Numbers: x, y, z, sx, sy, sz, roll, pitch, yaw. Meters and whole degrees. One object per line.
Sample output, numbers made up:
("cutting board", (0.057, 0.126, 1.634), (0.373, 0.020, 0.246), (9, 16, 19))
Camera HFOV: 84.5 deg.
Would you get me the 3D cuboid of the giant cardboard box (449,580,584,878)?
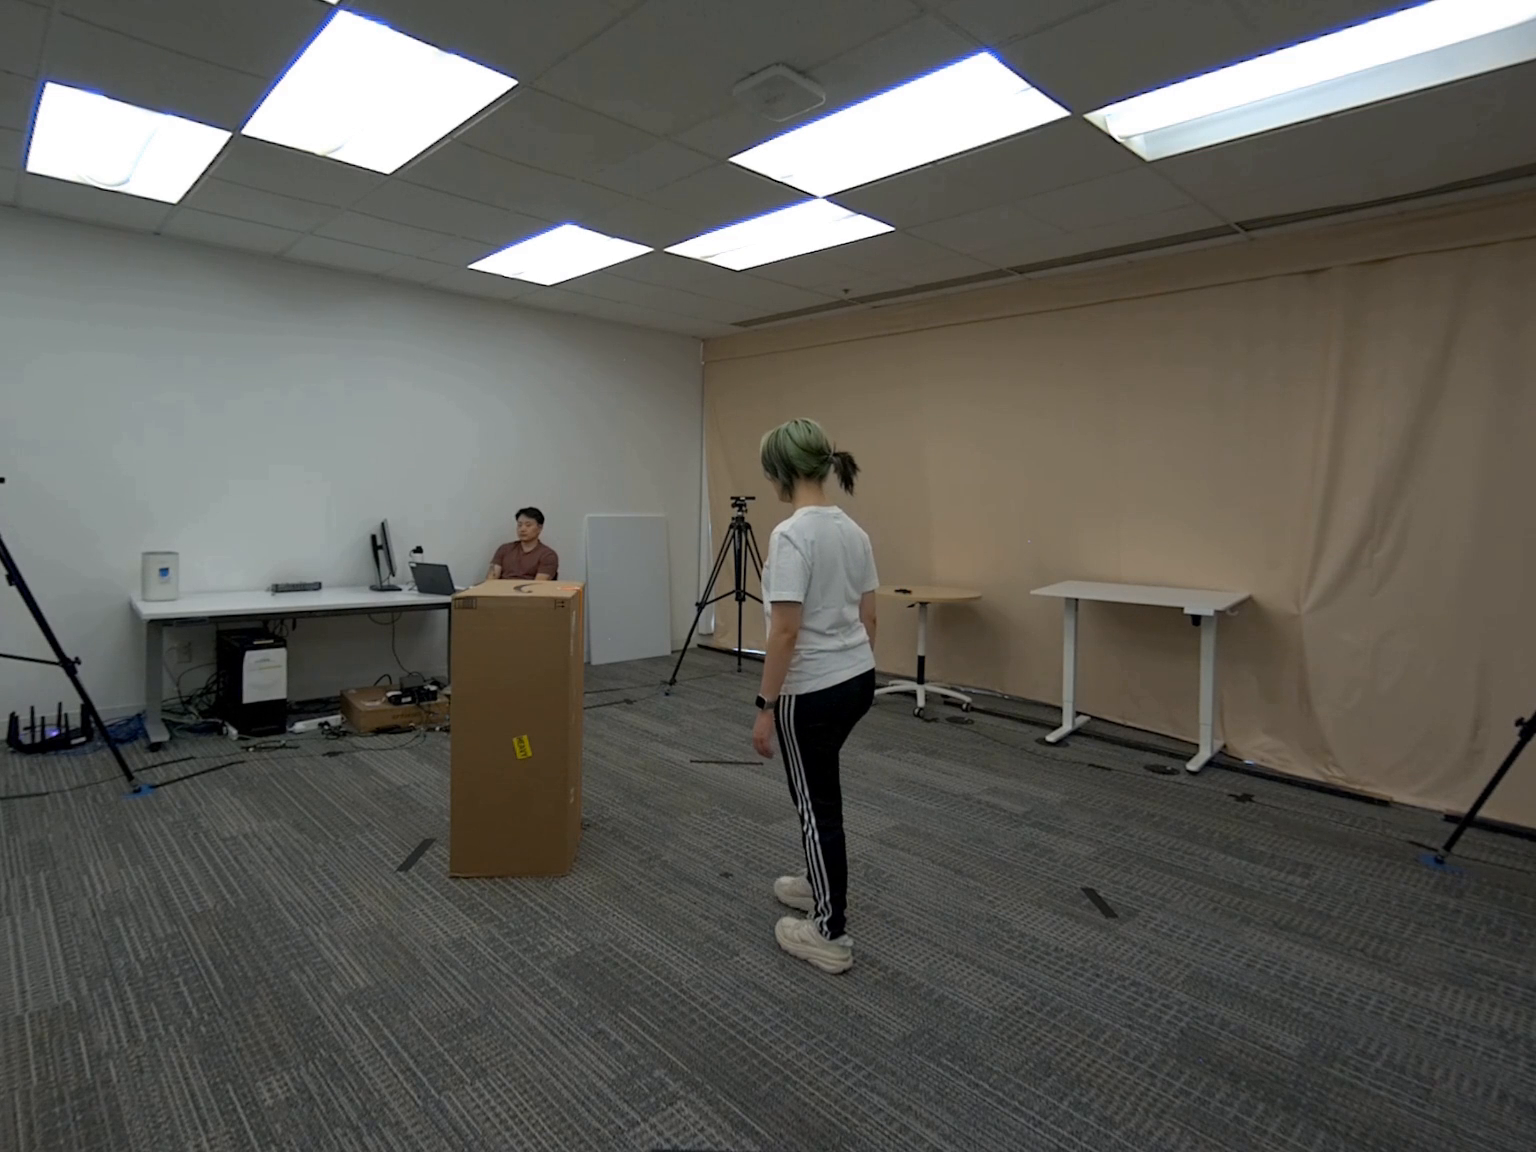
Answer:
("giant cardboard box", (-0.969, 0.560, 3.307), (0.444, 1.025, 0.588), (0, 3, -7))
